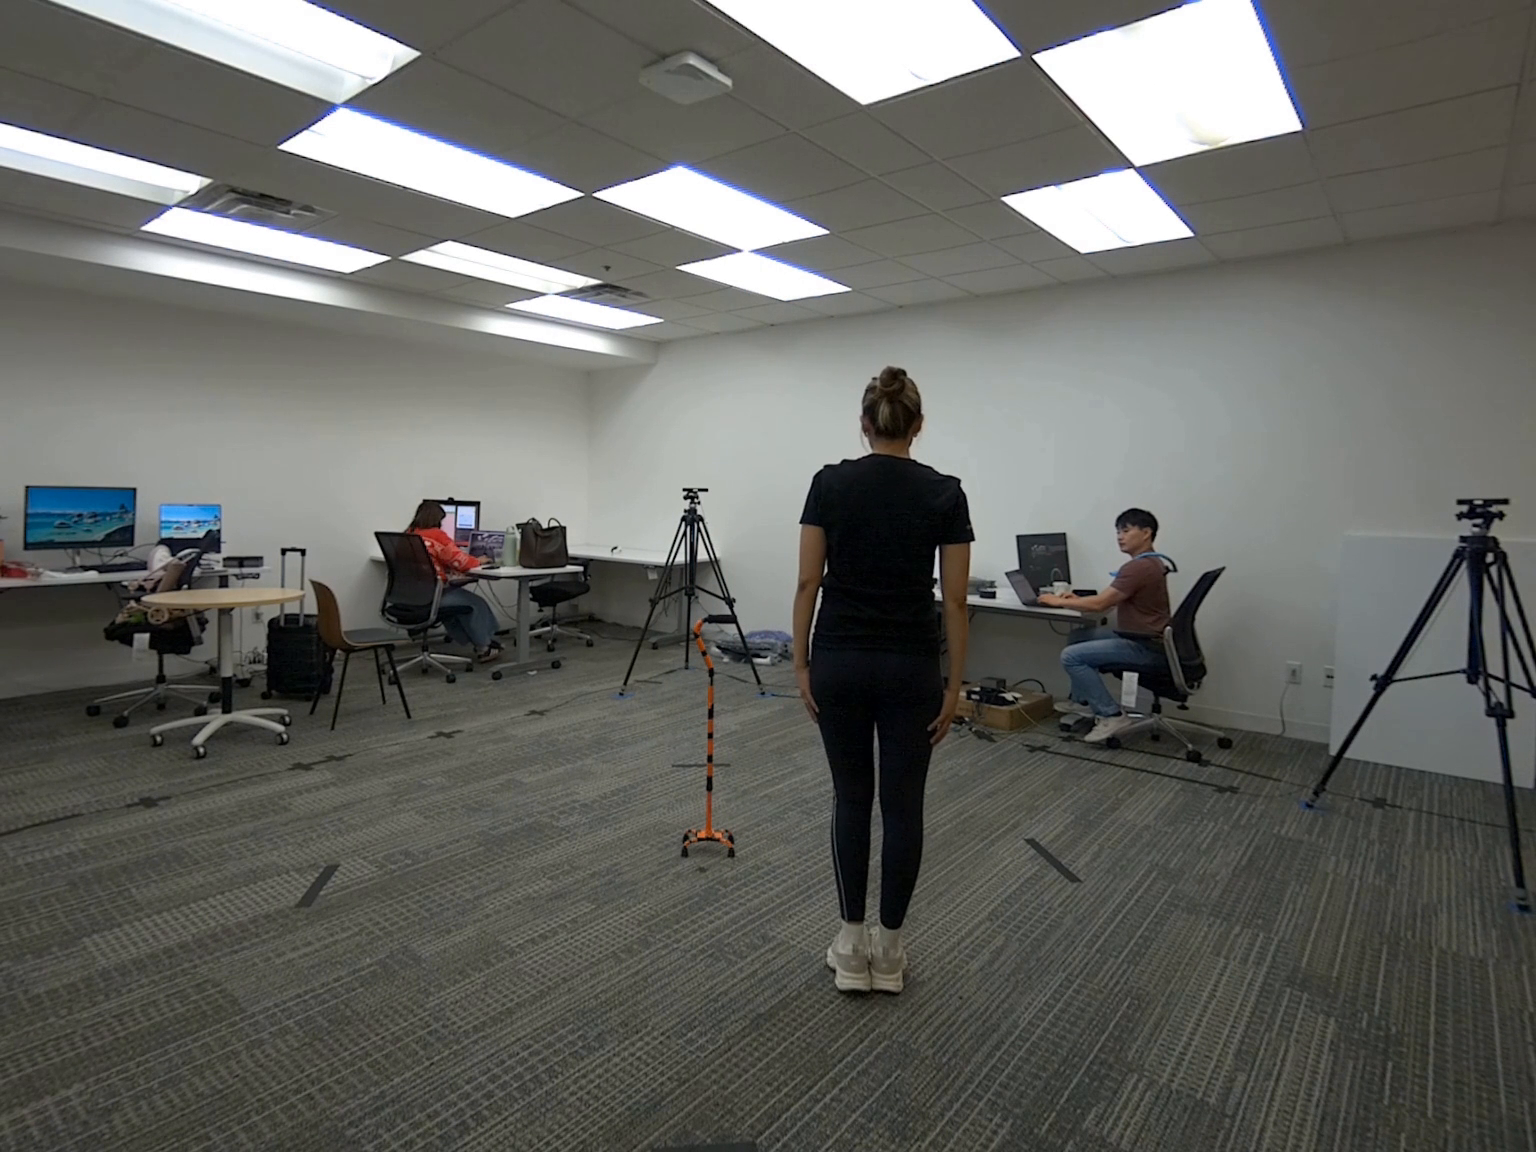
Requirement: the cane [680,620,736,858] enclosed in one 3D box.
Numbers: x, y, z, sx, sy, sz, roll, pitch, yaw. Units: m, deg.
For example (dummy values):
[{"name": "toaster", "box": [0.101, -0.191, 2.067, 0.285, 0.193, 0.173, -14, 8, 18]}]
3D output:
[{"name": "cane", "box": [-0.232, 0.603, 3.262, 0.206, 0.906, 0.152, 0, 2, -2]}]
